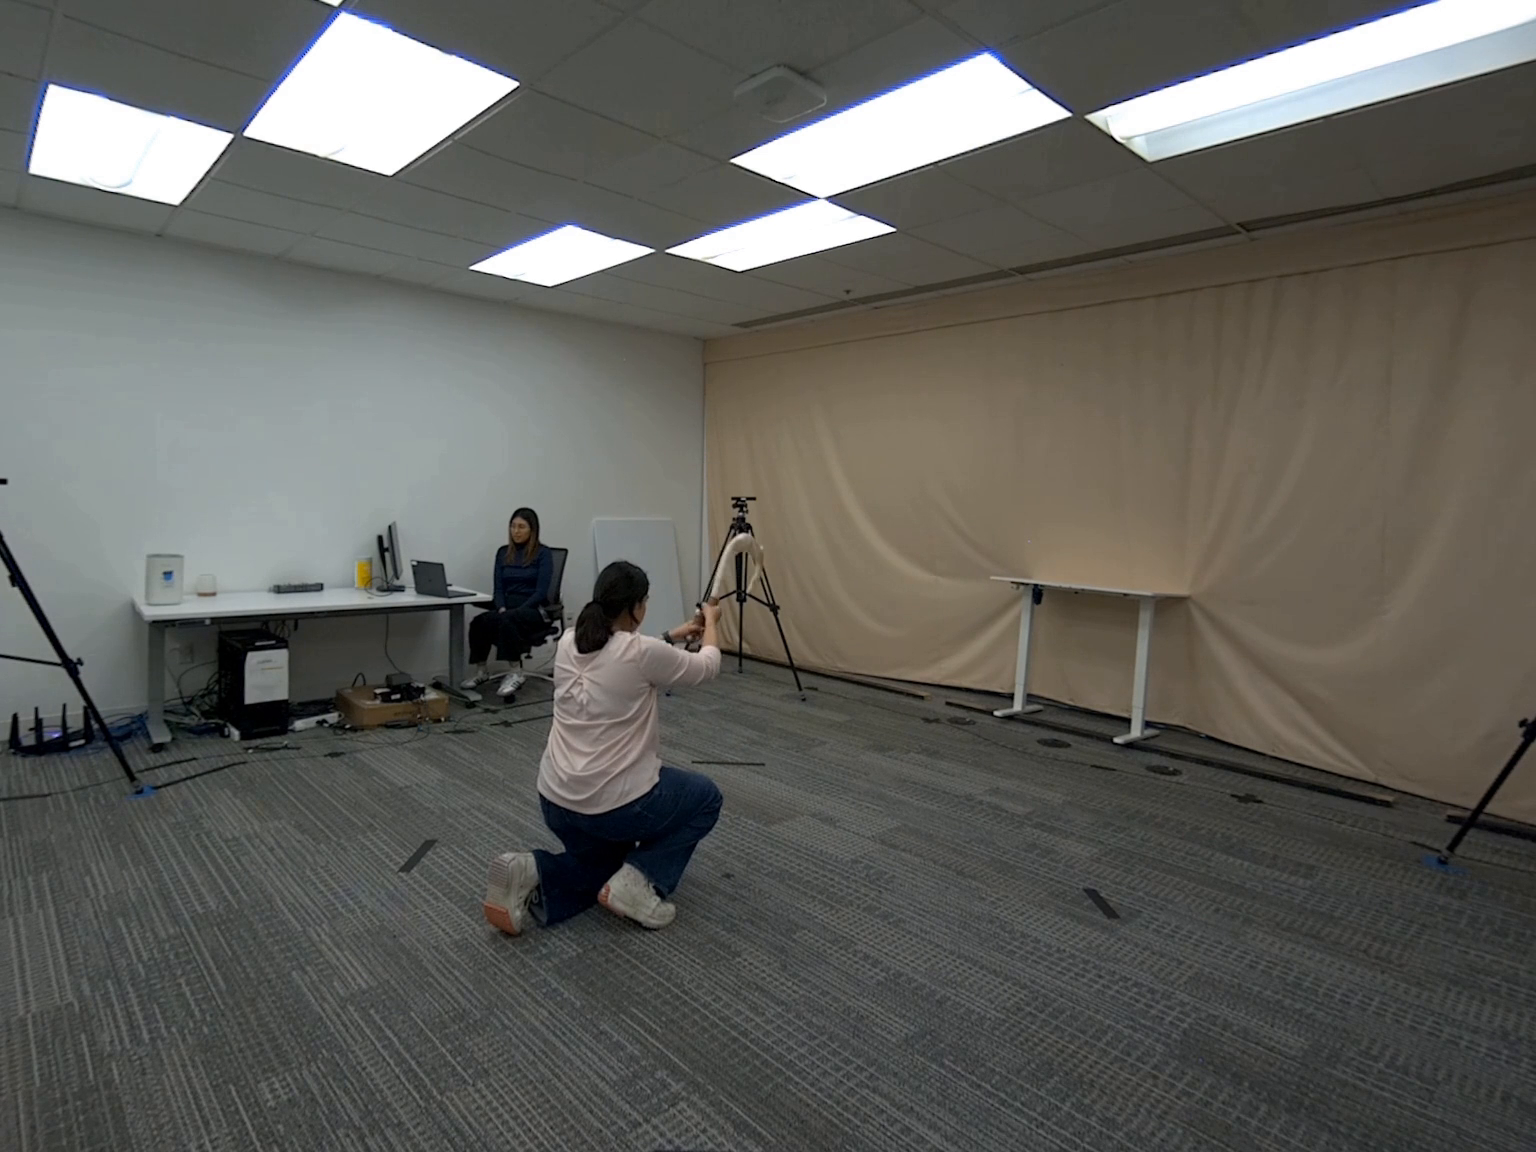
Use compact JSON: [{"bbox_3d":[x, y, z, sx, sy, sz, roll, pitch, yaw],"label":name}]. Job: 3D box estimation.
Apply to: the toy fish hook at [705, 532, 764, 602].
[{"bbox_3d":[-0.168,0.074,3.278,0.218,0.509,0.049,42,-25,-32],"label":"toy fish hook"}]
